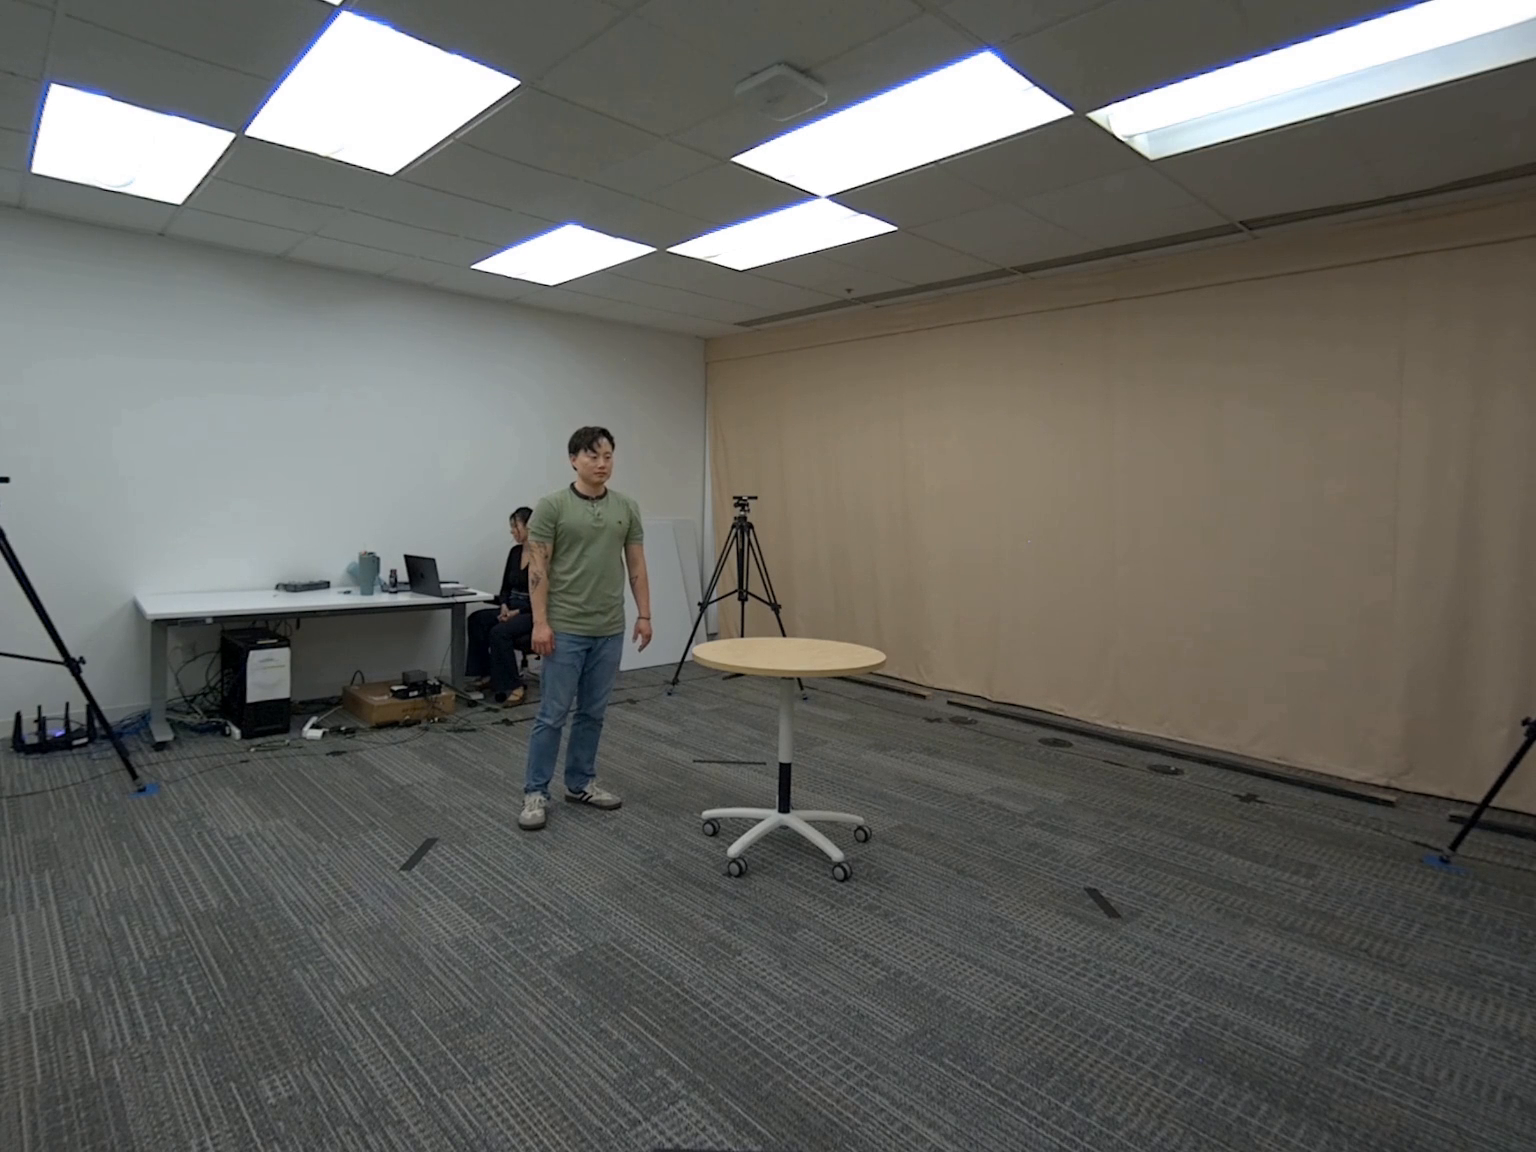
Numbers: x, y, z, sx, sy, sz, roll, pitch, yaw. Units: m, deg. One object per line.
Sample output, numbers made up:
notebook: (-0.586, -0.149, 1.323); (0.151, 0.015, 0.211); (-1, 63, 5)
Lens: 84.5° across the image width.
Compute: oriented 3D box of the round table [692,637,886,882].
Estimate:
round table: (0.063, 0.696, 3.349); (0.763, 0.792, 0.766); (1, 3, -1)
